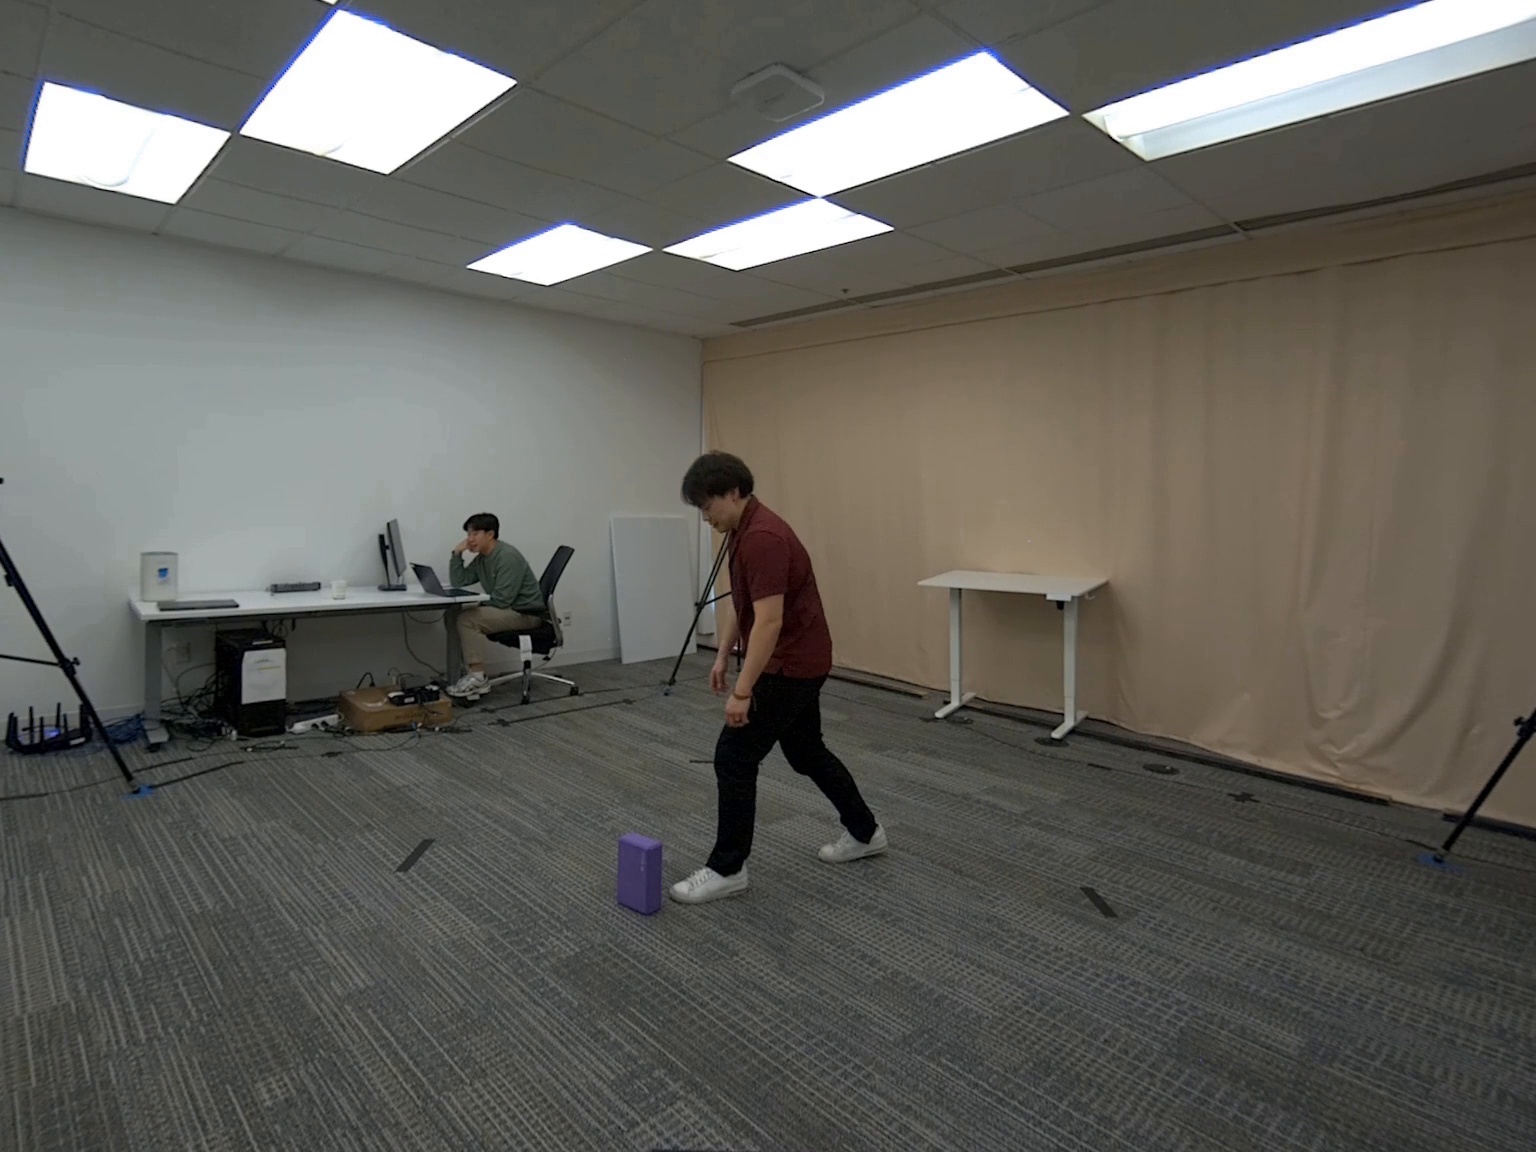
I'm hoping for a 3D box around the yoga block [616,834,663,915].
[{"bbox_3d":[-0.440,1.005,2.844,0.152,0.229,0.075,4,4,36],"label":"yoga block"}]
